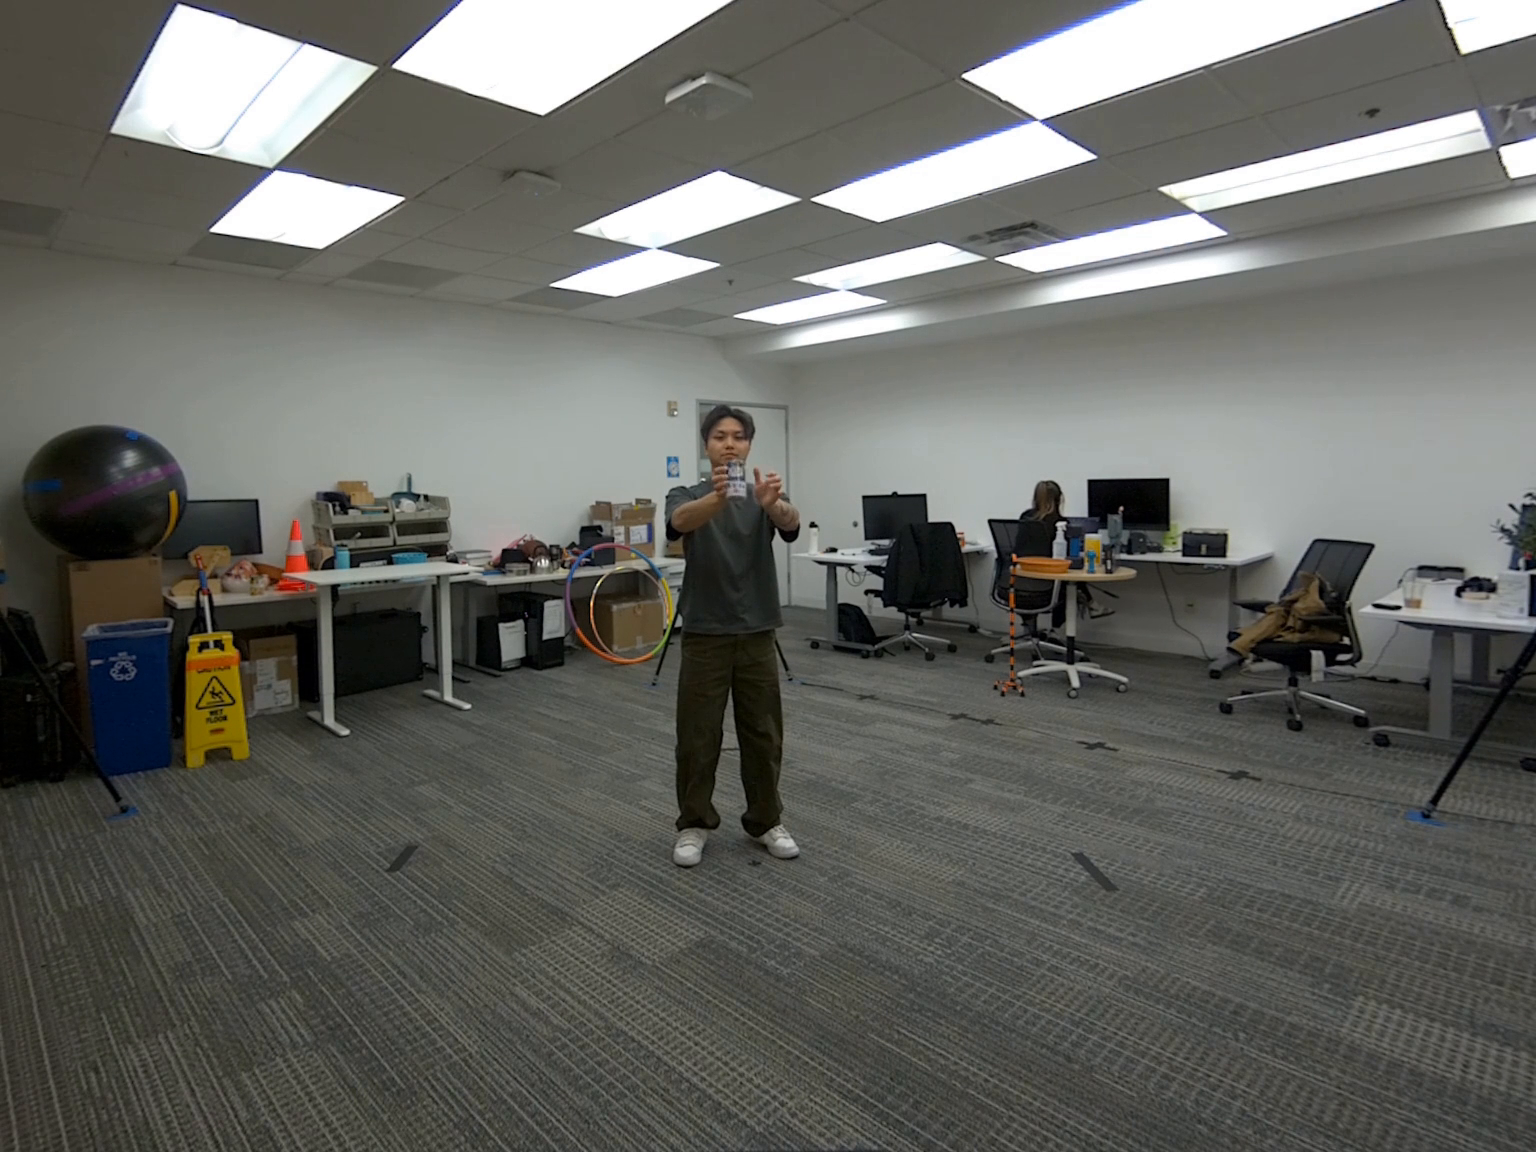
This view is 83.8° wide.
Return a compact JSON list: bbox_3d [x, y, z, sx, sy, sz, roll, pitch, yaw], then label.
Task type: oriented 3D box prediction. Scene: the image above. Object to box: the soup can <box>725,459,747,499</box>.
[{"bbox_3d":[-0.101,-0.297,2.663,0.067,0.123,0.066,-3,-12,-2],"label":"soup can"}]
